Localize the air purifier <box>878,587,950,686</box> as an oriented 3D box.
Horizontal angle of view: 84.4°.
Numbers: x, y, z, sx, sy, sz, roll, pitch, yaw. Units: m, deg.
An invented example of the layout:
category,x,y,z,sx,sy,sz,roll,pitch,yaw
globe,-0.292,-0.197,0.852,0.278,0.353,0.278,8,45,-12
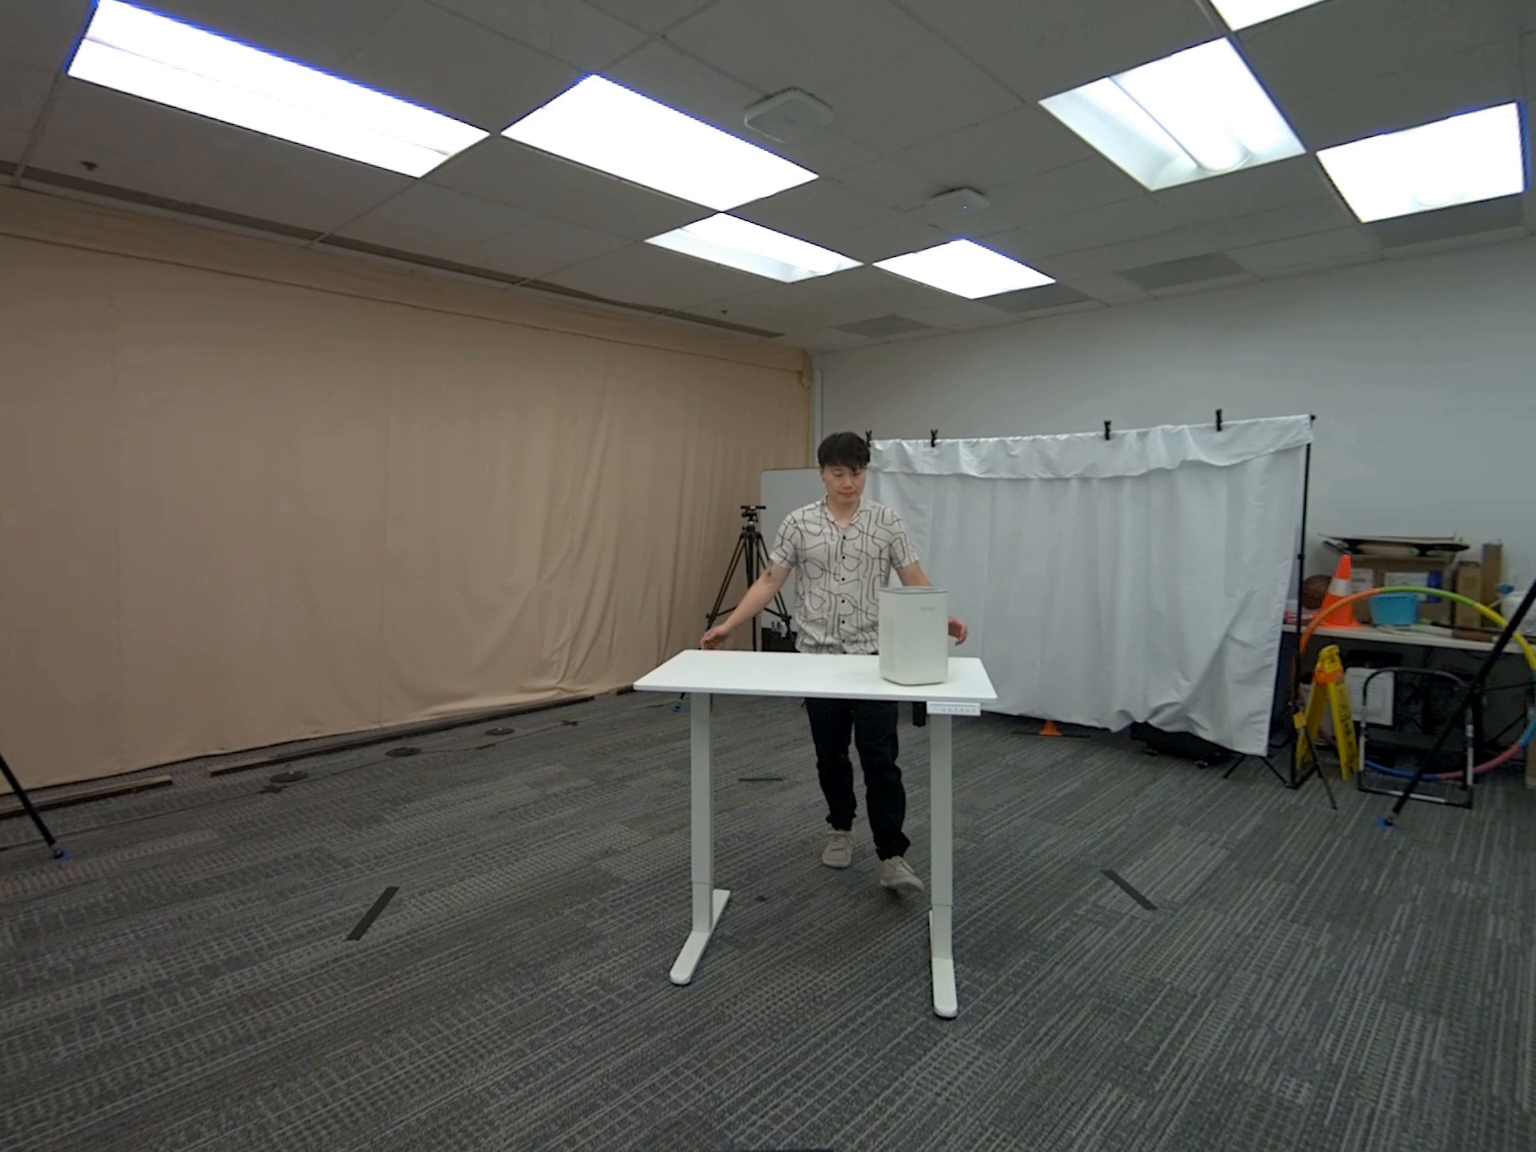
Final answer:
category,x,y,z,sx,sy,sz,roll,pitch,yaw
air purifier,0.420,0.175,2.431,0.168,0.265,0.175,-3,3,-17
